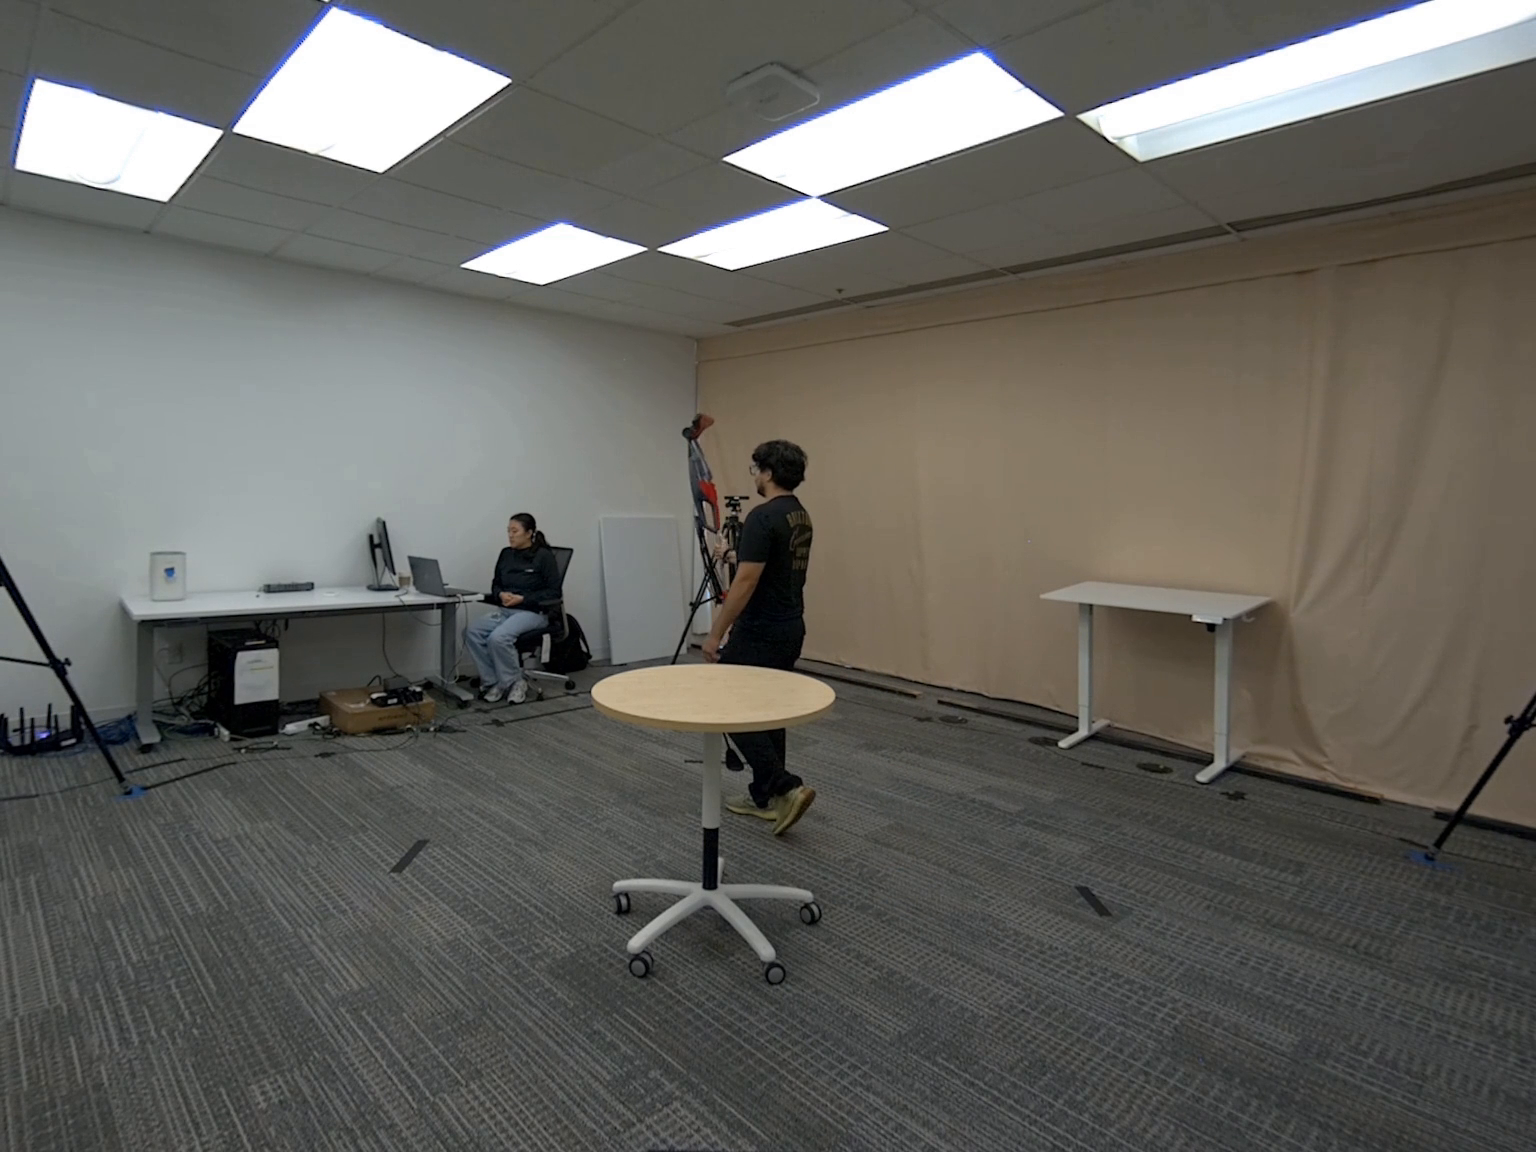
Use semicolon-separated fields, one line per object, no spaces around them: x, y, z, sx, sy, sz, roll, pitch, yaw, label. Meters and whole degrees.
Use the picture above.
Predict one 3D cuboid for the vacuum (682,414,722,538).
-0.307;-0.226;4.117;0.145;1.049;0.250;-6;0;12;vacuum
